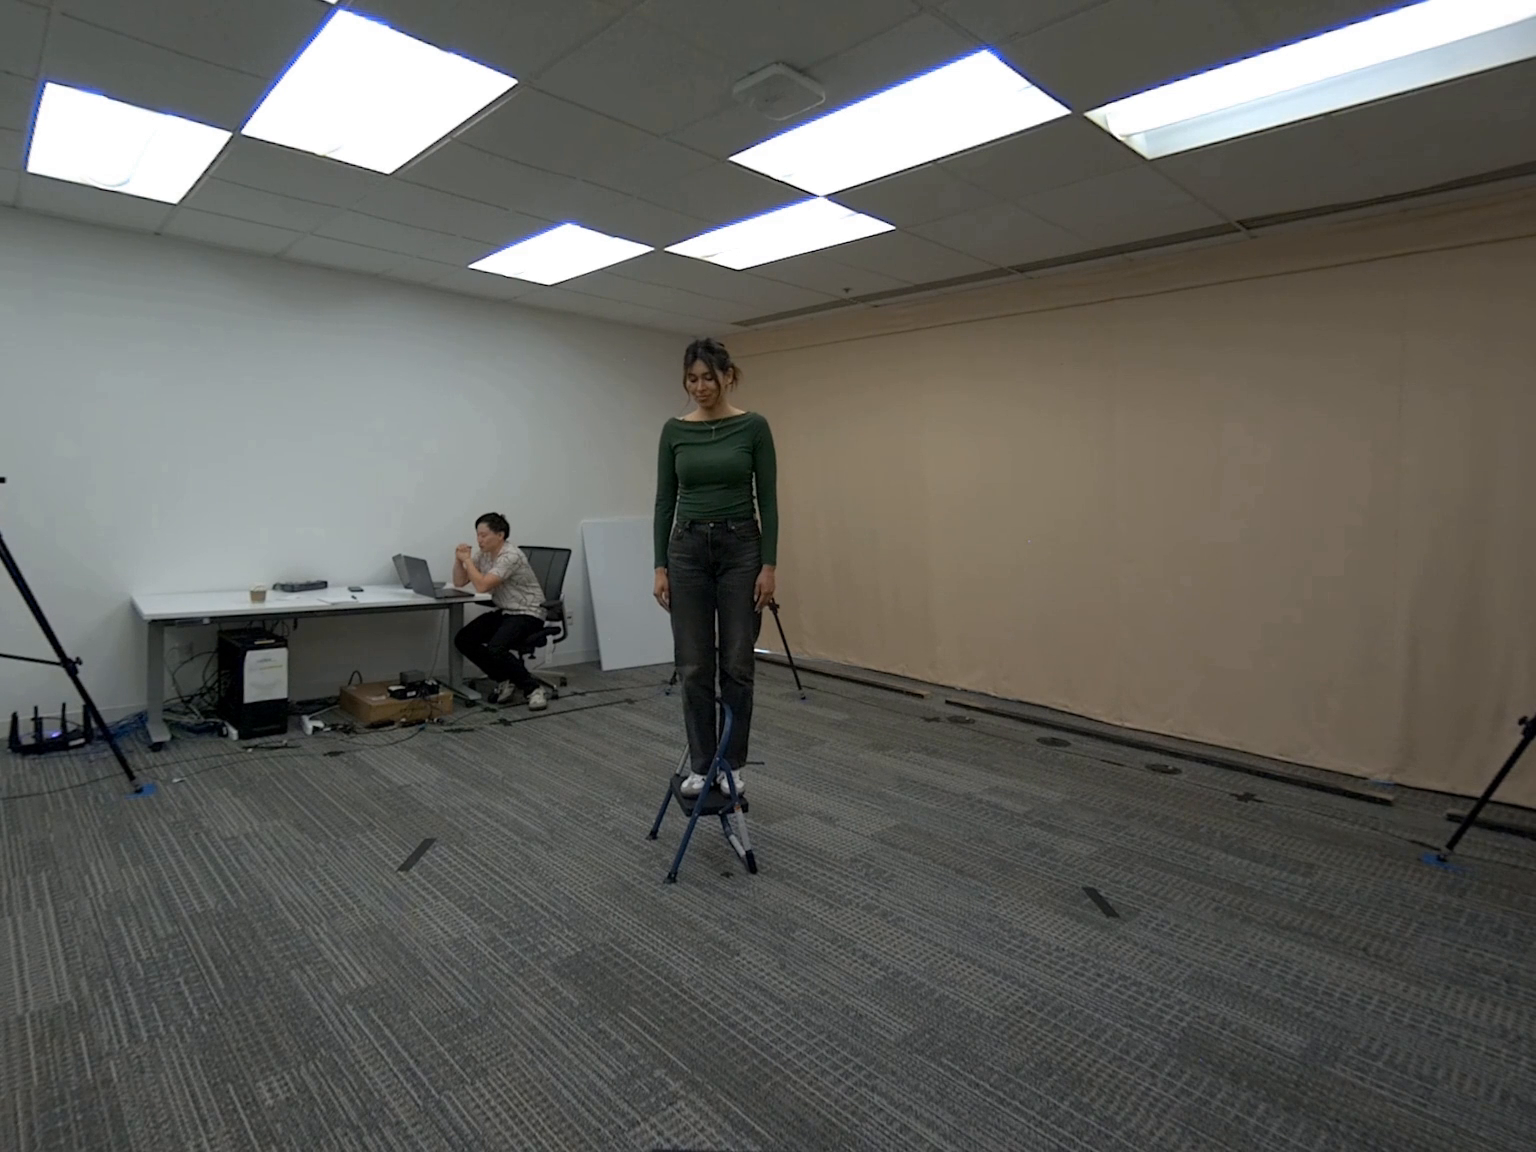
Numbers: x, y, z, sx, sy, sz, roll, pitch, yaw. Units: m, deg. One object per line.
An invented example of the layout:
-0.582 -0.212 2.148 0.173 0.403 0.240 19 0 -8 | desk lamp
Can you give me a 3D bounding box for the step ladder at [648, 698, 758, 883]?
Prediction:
-0.262 0.787 3.245 0.345 0.604 0.437 0 4 -17 | step ladder
